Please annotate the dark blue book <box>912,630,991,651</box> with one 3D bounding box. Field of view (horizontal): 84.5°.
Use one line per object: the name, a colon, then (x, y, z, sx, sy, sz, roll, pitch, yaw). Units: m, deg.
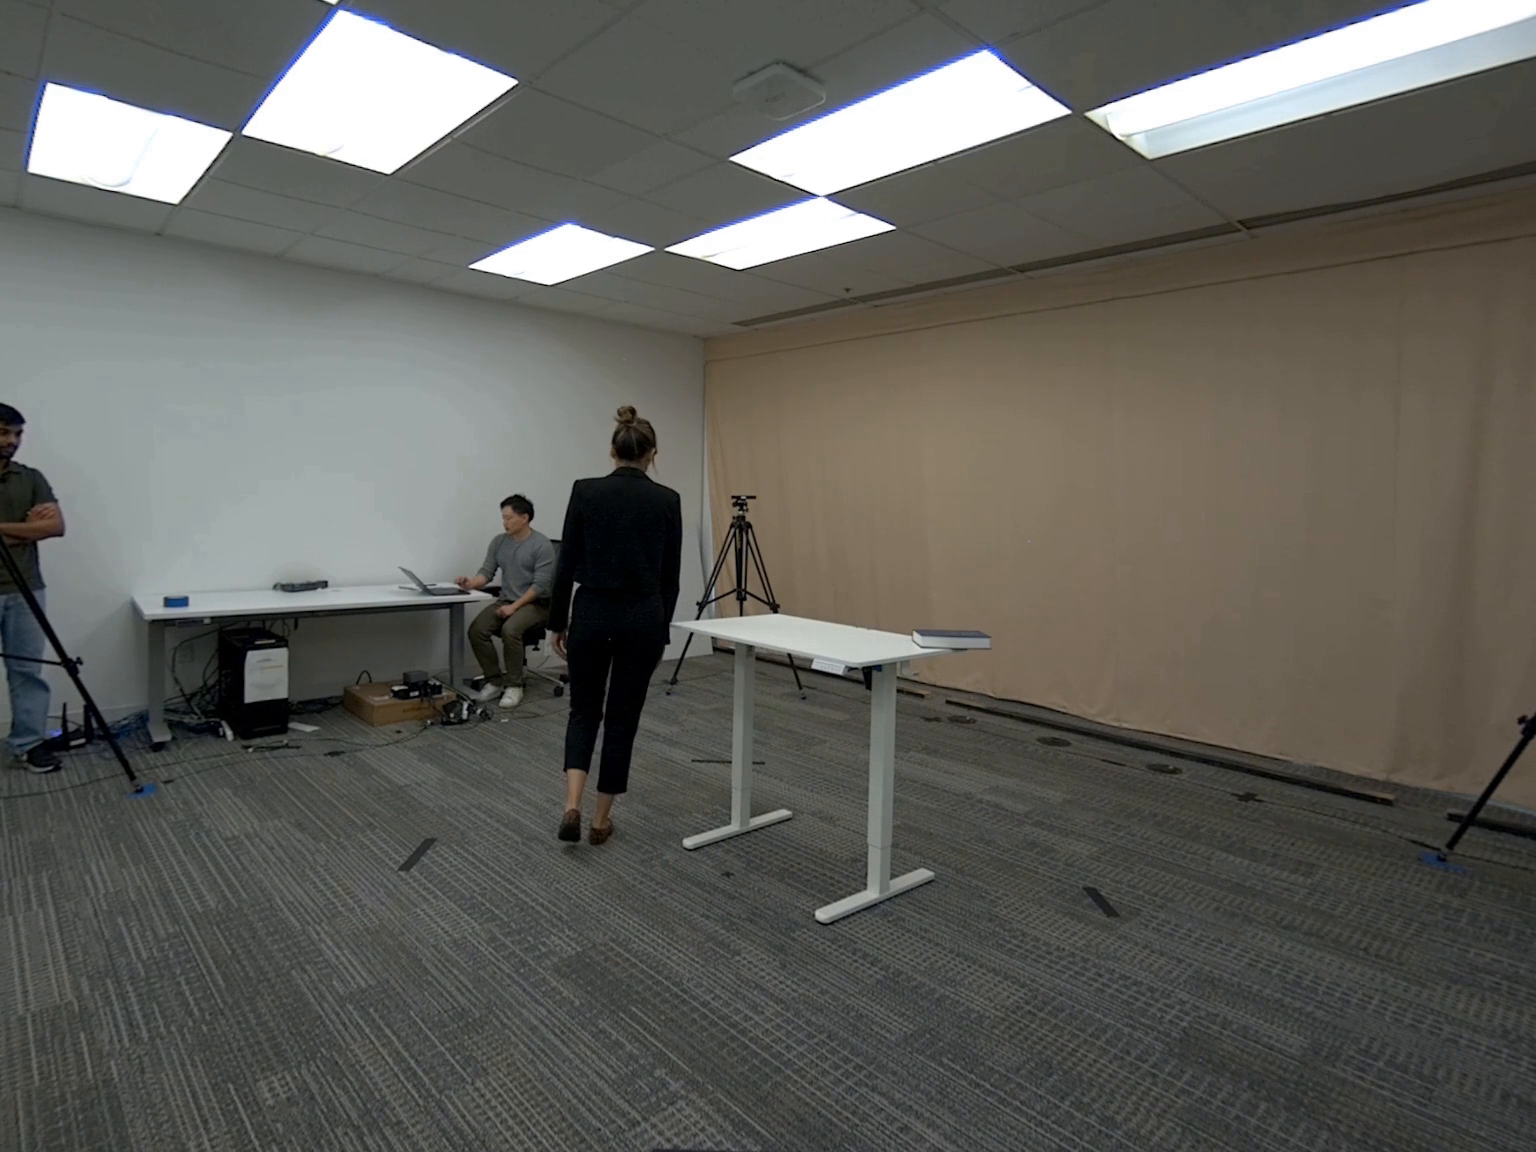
dark blue book: (0.643, 0.222, 3.001, 0.245, 0.045, 0.163, 2, 4, 1)
